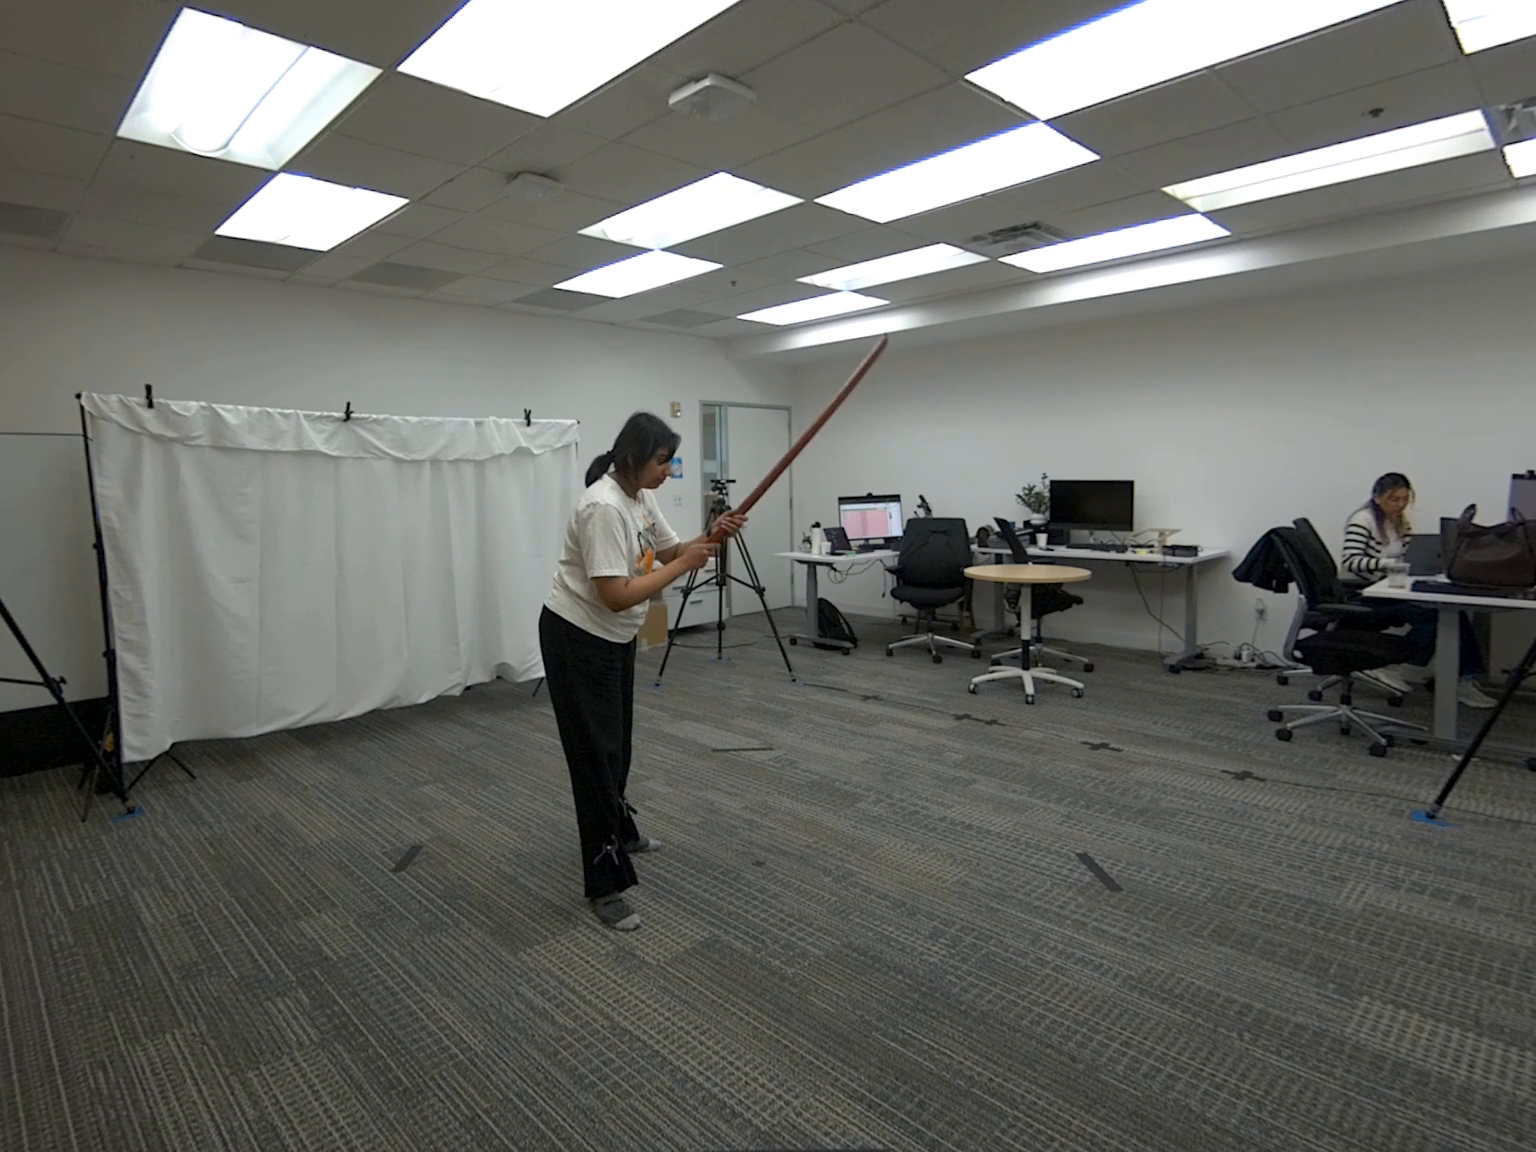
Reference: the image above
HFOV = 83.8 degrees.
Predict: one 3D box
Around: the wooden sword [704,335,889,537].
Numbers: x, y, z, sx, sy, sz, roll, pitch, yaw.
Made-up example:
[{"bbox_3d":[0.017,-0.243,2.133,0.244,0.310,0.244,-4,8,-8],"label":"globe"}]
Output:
[{"bbox_3d":[0.076,-0.398,2.848,0.023,1.024,0.053,35,6,-43],"label":"wooden sword"}]
